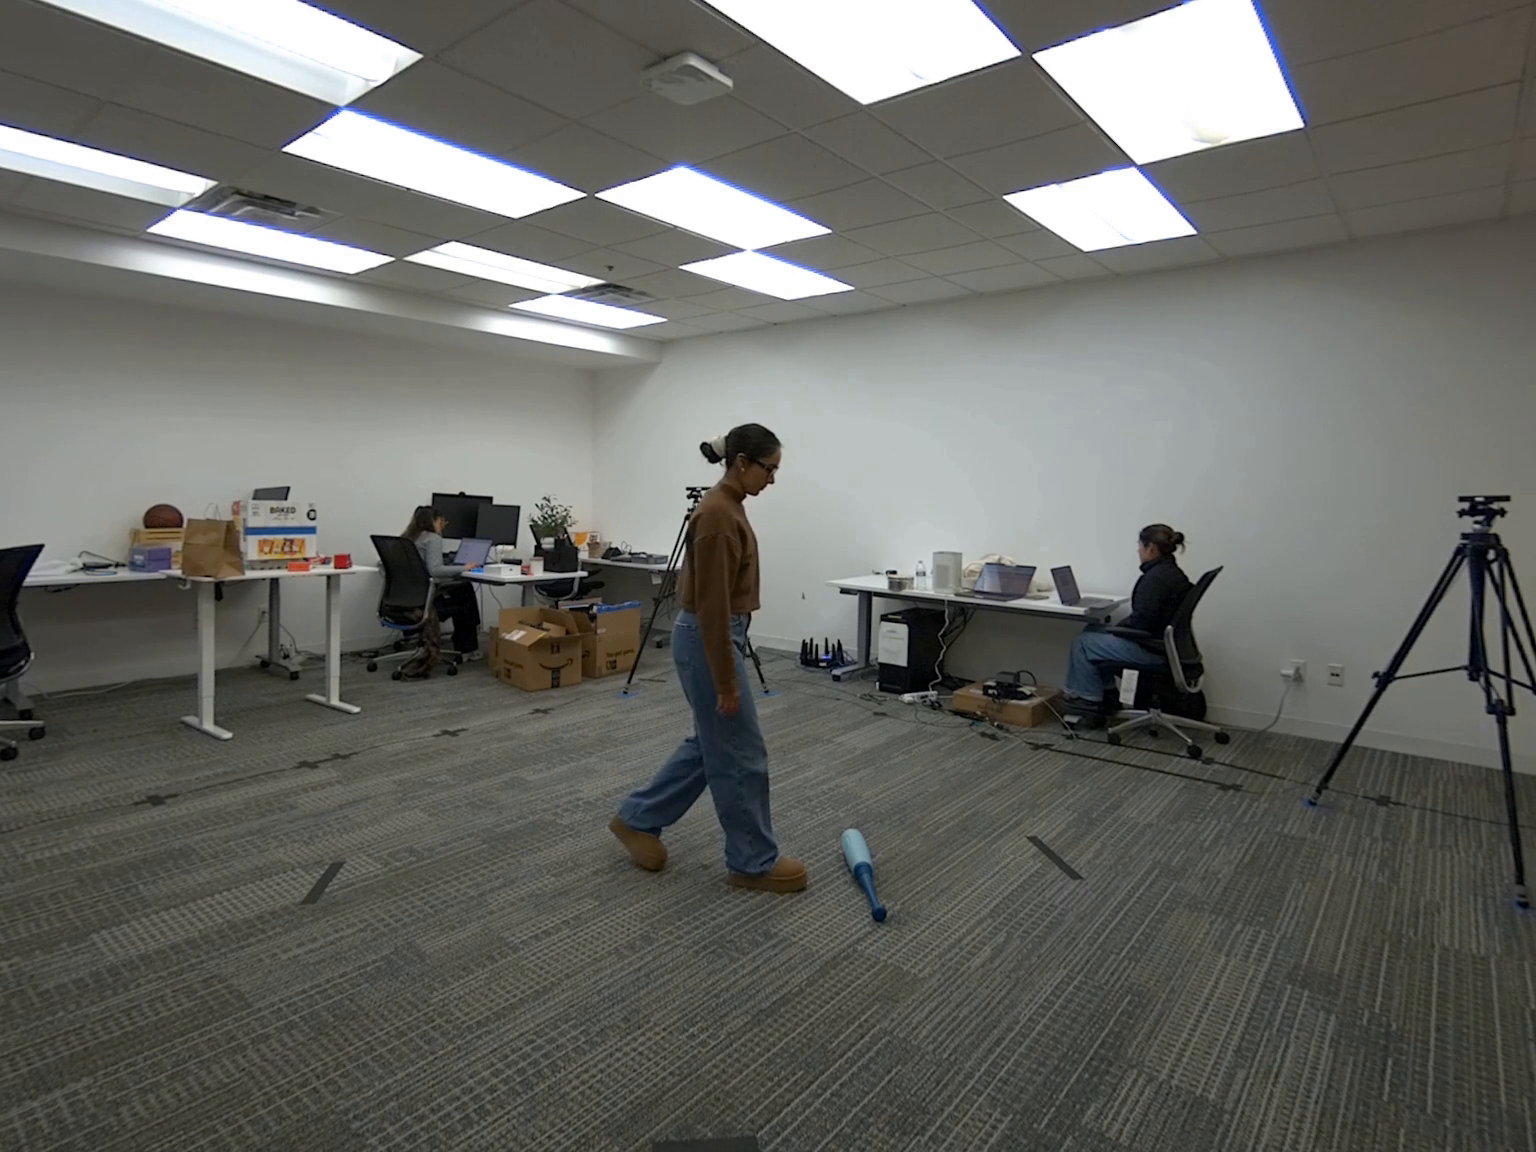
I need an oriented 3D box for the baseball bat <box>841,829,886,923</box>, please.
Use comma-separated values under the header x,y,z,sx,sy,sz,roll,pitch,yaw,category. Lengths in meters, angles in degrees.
x,y,z,sx,sy,sz,roll,pitch,yaw,category
0.334,1.055,3.007,0.089,0.088,0.548,0,9,-4,baseball bat
